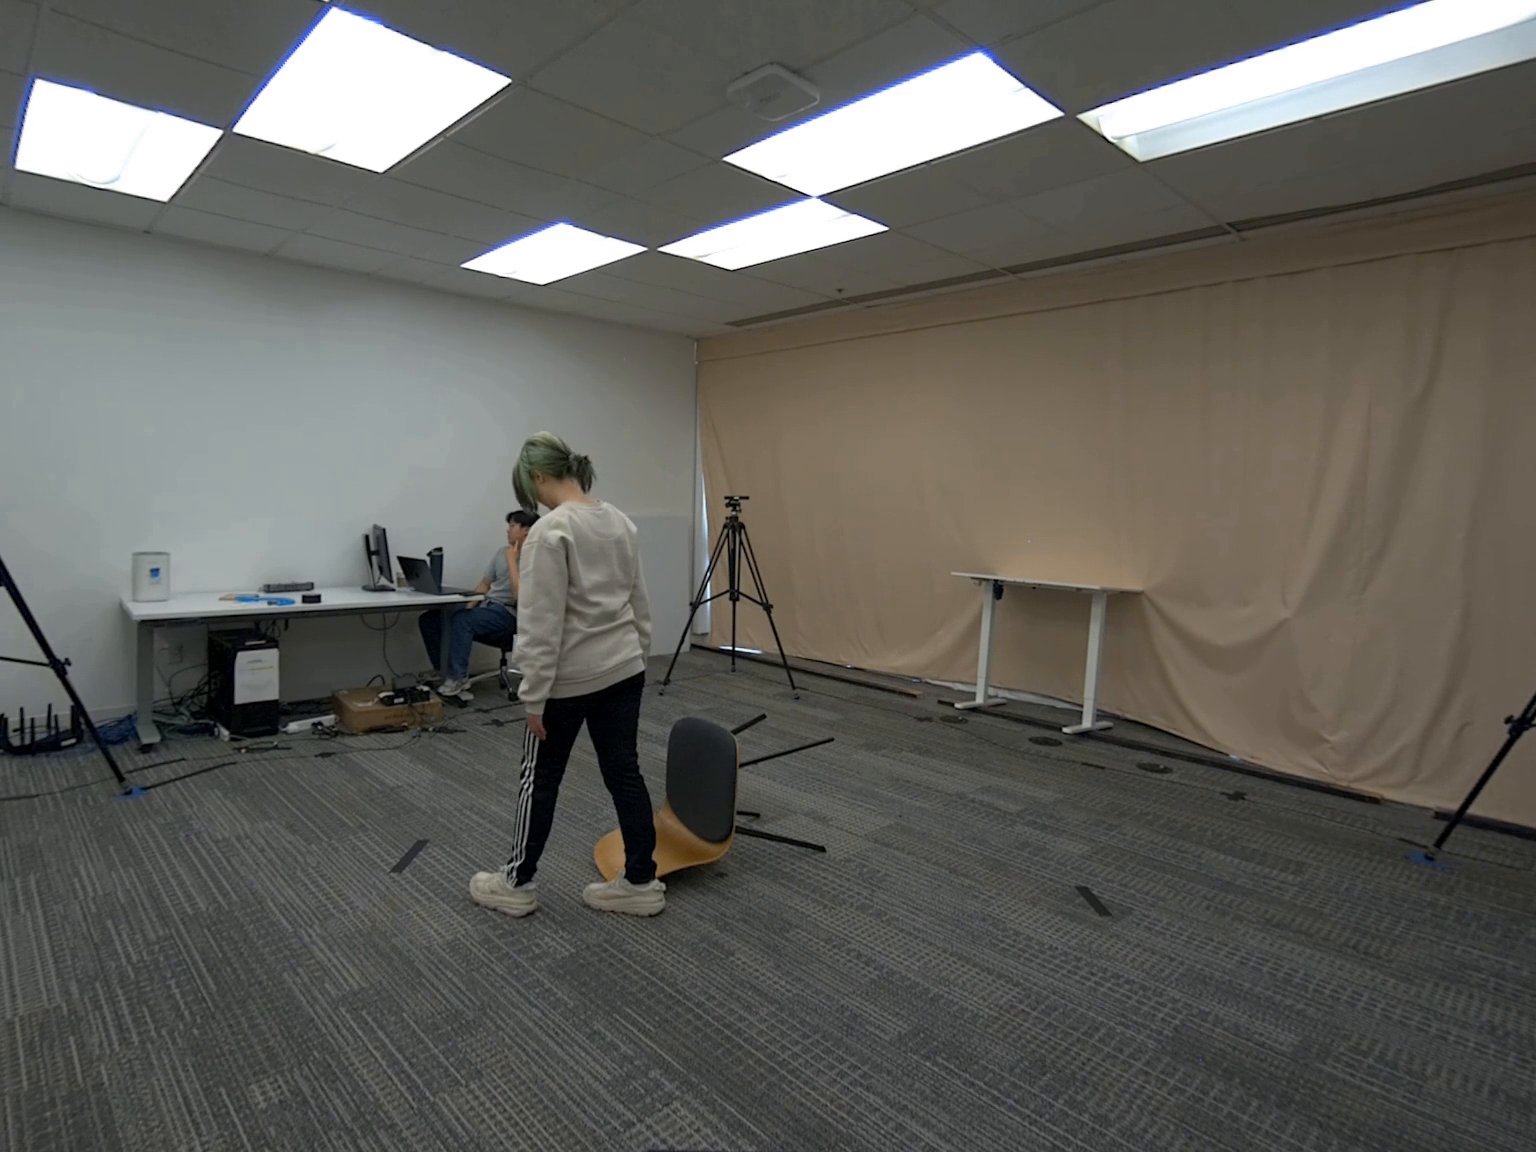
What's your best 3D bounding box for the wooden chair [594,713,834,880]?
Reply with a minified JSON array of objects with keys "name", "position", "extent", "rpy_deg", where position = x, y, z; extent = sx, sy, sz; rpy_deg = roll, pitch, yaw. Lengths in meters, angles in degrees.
[{"name":"wooden chair","position":[-0.233,0.827,3.261],"extent":[0.858,0.522,0.490],"rpy_deg":[-3,5,-36]}]
